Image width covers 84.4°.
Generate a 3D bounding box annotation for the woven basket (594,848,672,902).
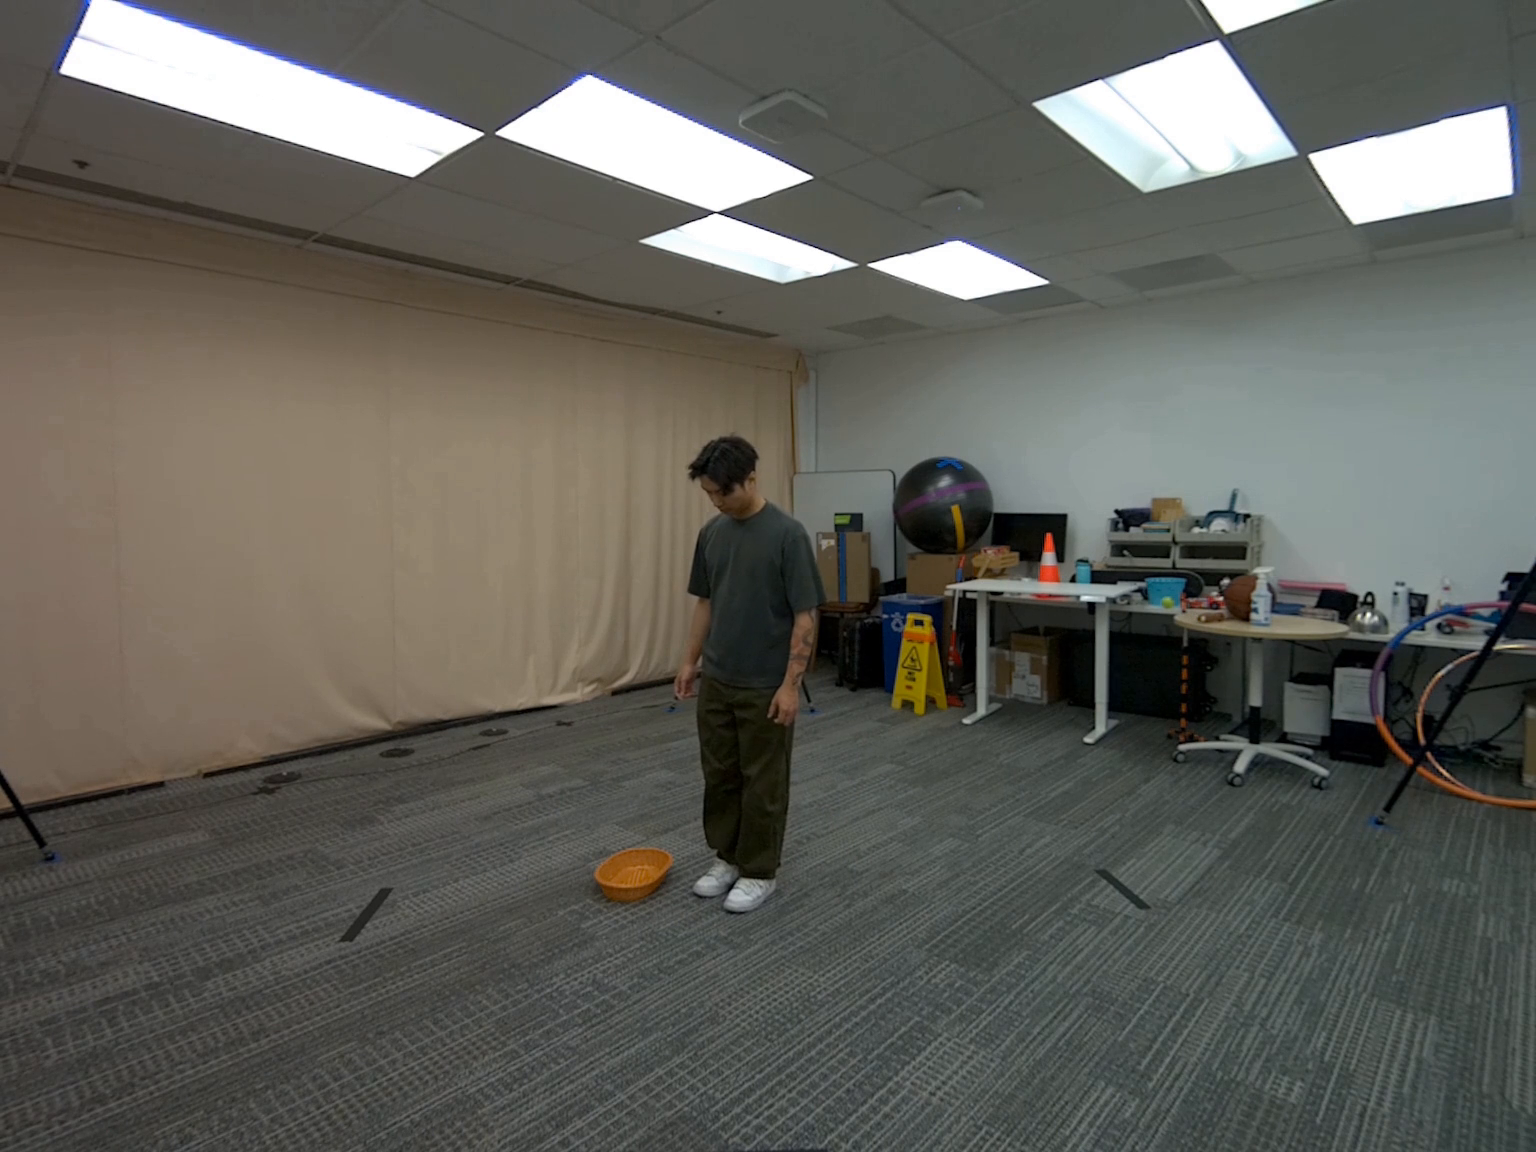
[{"bbox_3d":[-0.491,1.102,3.103,0.258,0.073,0.343,1,5,23],"label":"woven basket"}]
